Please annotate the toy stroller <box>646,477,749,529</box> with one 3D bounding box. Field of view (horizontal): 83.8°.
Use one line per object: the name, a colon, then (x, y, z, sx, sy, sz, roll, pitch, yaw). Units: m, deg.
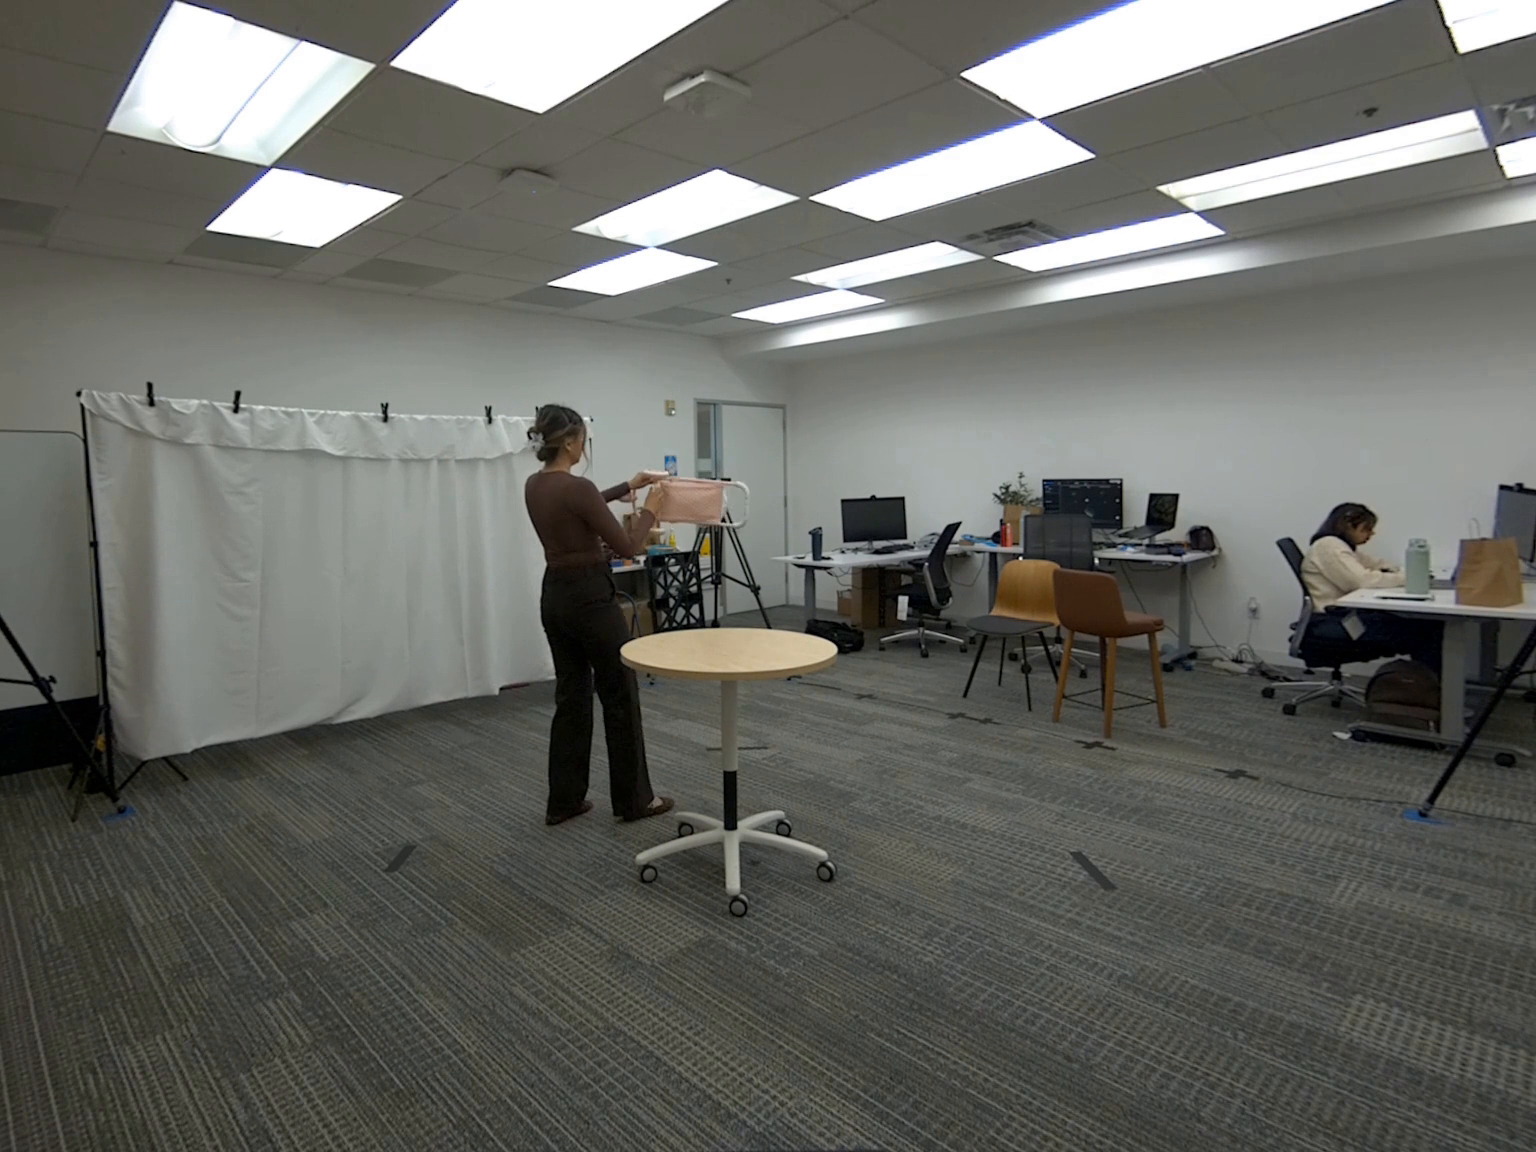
toy stroller: (-0.395, -0.332, 3.837, 0.524, 0.280, 0.350, -1, 6, -23)
